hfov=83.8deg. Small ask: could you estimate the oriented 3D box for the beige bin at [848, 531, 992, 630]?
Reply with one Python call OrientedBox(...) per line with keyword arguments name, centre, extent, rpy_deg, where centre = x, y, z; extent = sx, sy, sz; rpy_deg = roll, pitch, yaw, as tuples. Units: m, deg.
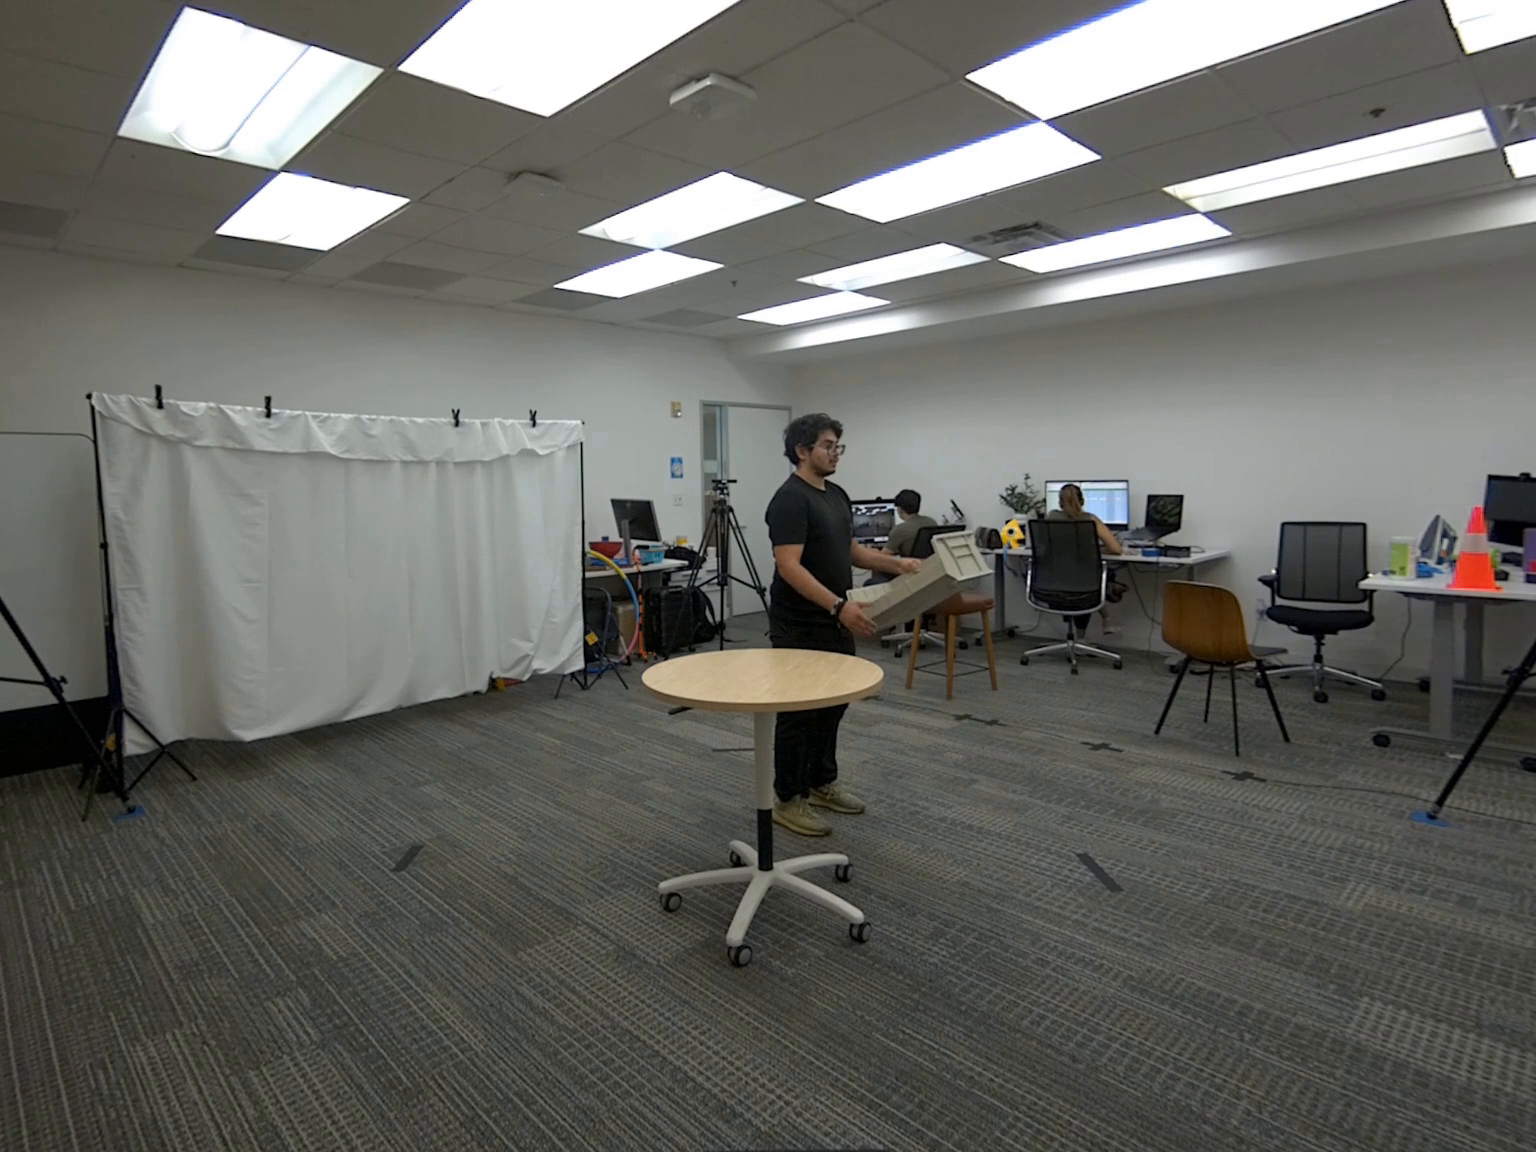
OrientedBox(name="beige bin", centre=(0.554, 0.021, 3.188), extent=(0.425, 0.193, 0.367), rpy_deg=(-35, -18, 35))
